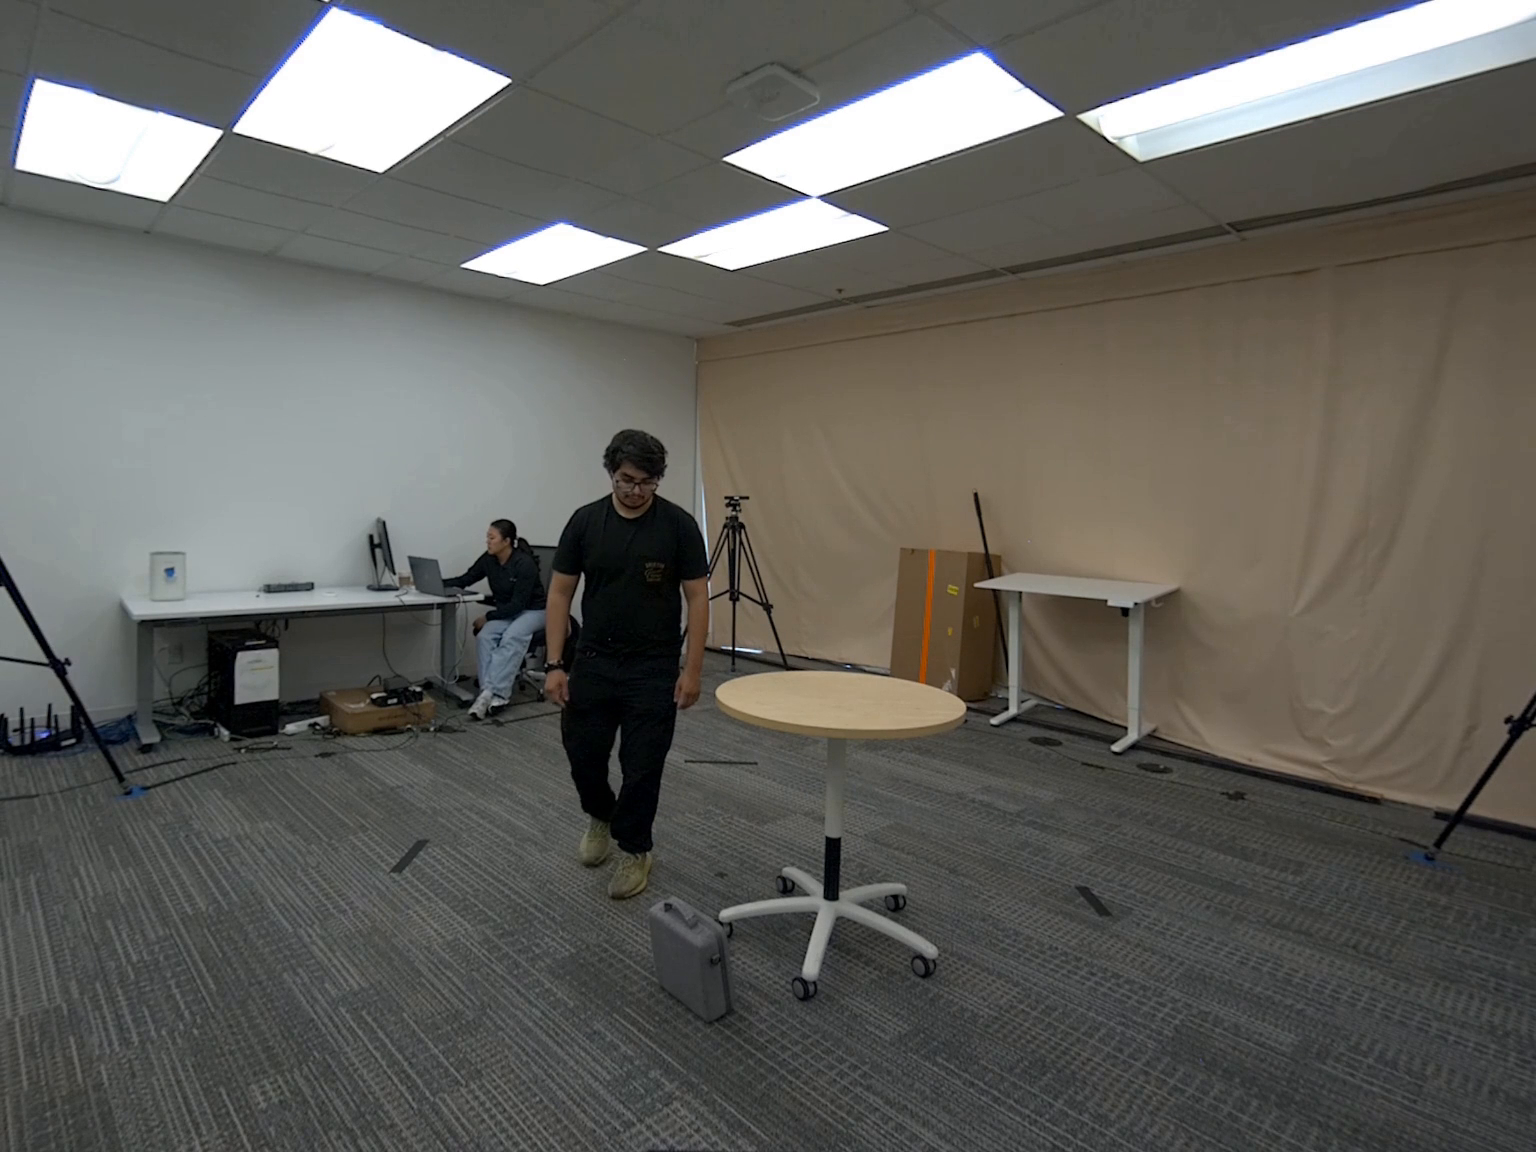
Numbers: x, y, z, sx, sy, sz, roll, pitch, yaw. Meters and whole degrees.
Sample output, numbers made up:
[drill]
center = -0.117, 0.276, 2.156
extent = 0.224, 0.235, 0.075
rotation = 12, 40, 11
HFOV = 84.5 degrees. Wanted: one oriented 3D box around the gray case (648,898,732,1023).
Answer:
[gray case]
center = -0.217, 1.043, 2.305
extent = 0.102, 0.258, 0.264
rotation = -15, 15, -39
